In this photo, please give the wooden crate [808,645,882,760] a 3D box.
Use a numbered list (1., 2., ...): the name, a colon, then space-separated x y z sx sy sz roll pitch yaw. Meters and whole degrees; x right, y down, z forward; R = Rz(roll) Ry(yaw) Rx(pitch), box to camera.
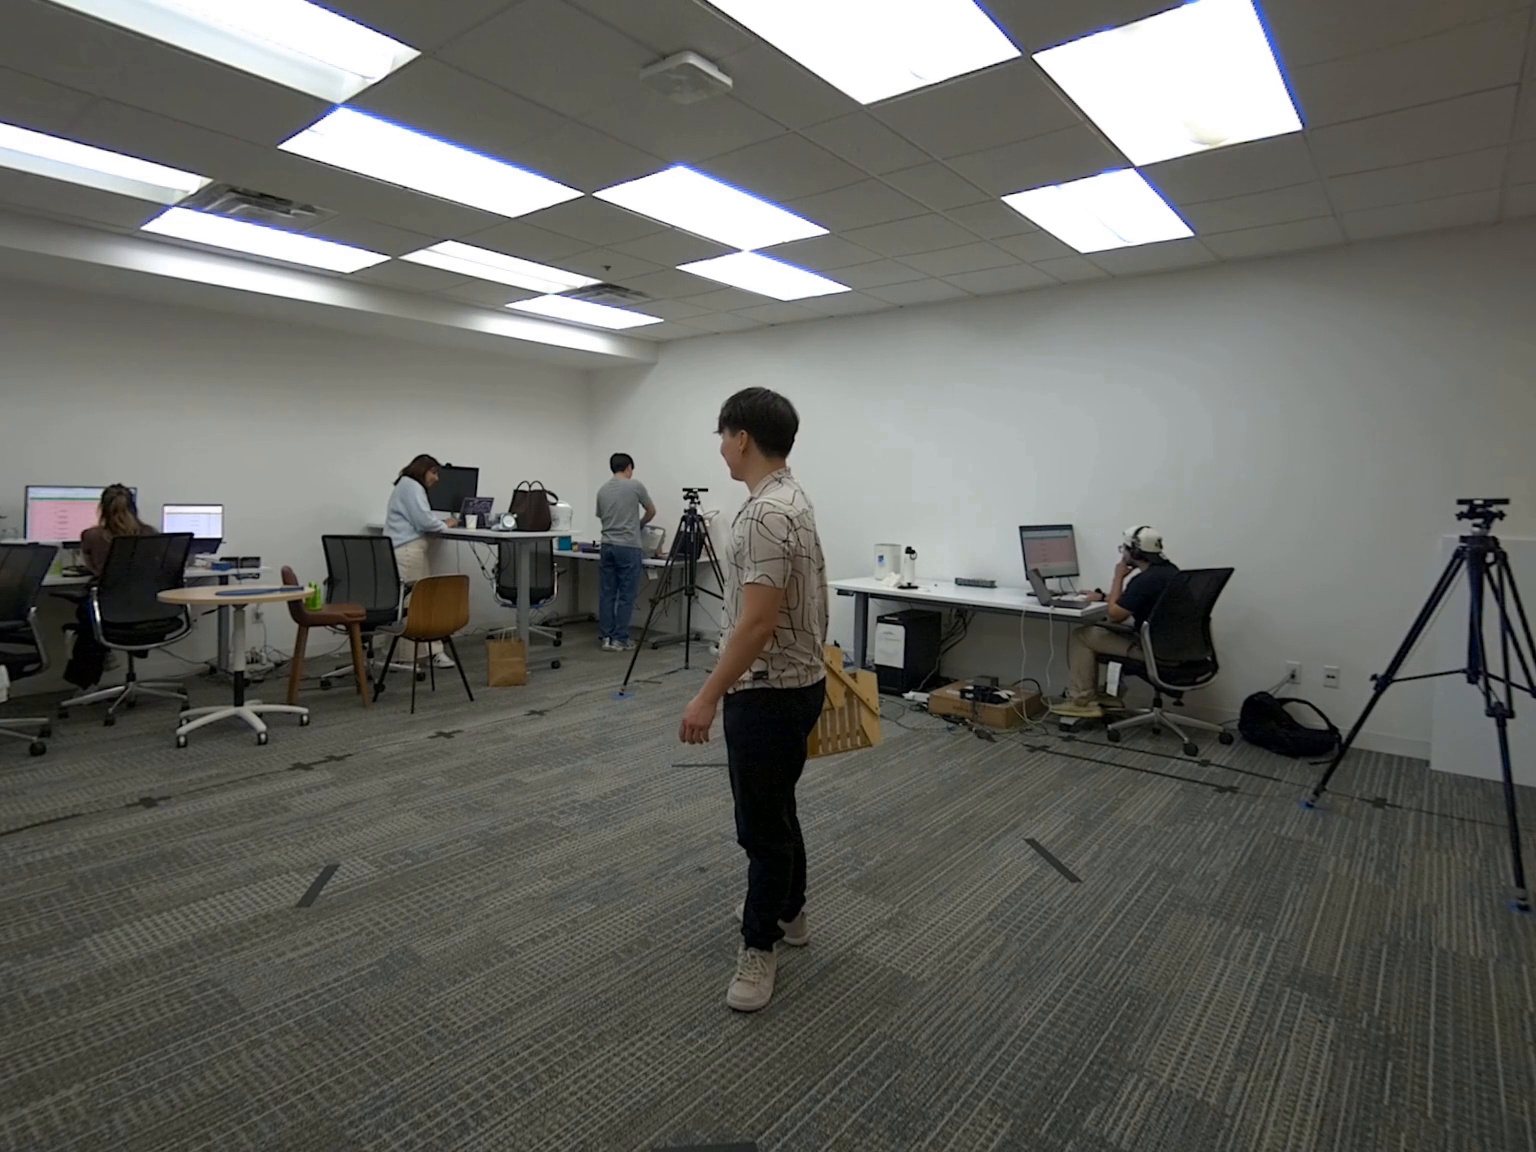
1. wooden crate: 0.163 0.433 2.860 0.263 0.309 0.330 22 -33 -37
